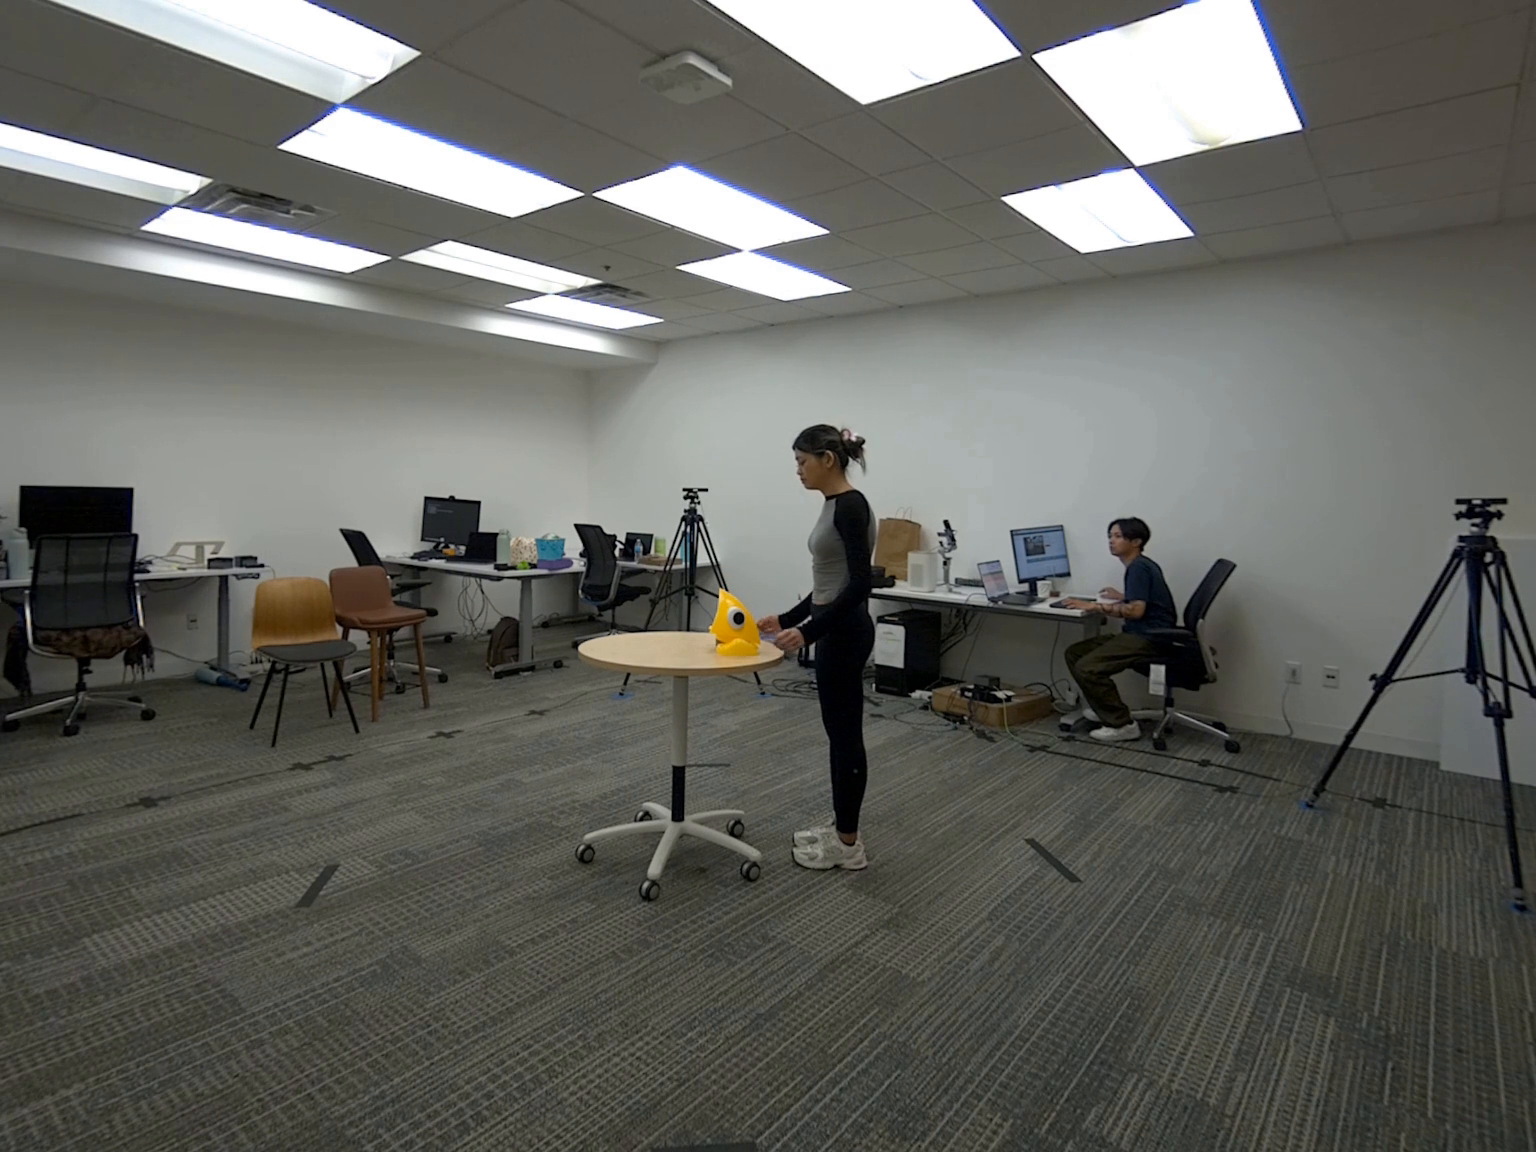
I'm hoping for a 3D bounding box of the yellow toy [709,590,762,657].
[{"bbox_3d":[-0.130,0.159,3.163,0.193,0.230,0.205,1,2,1],"label":"yellow toy"}]
